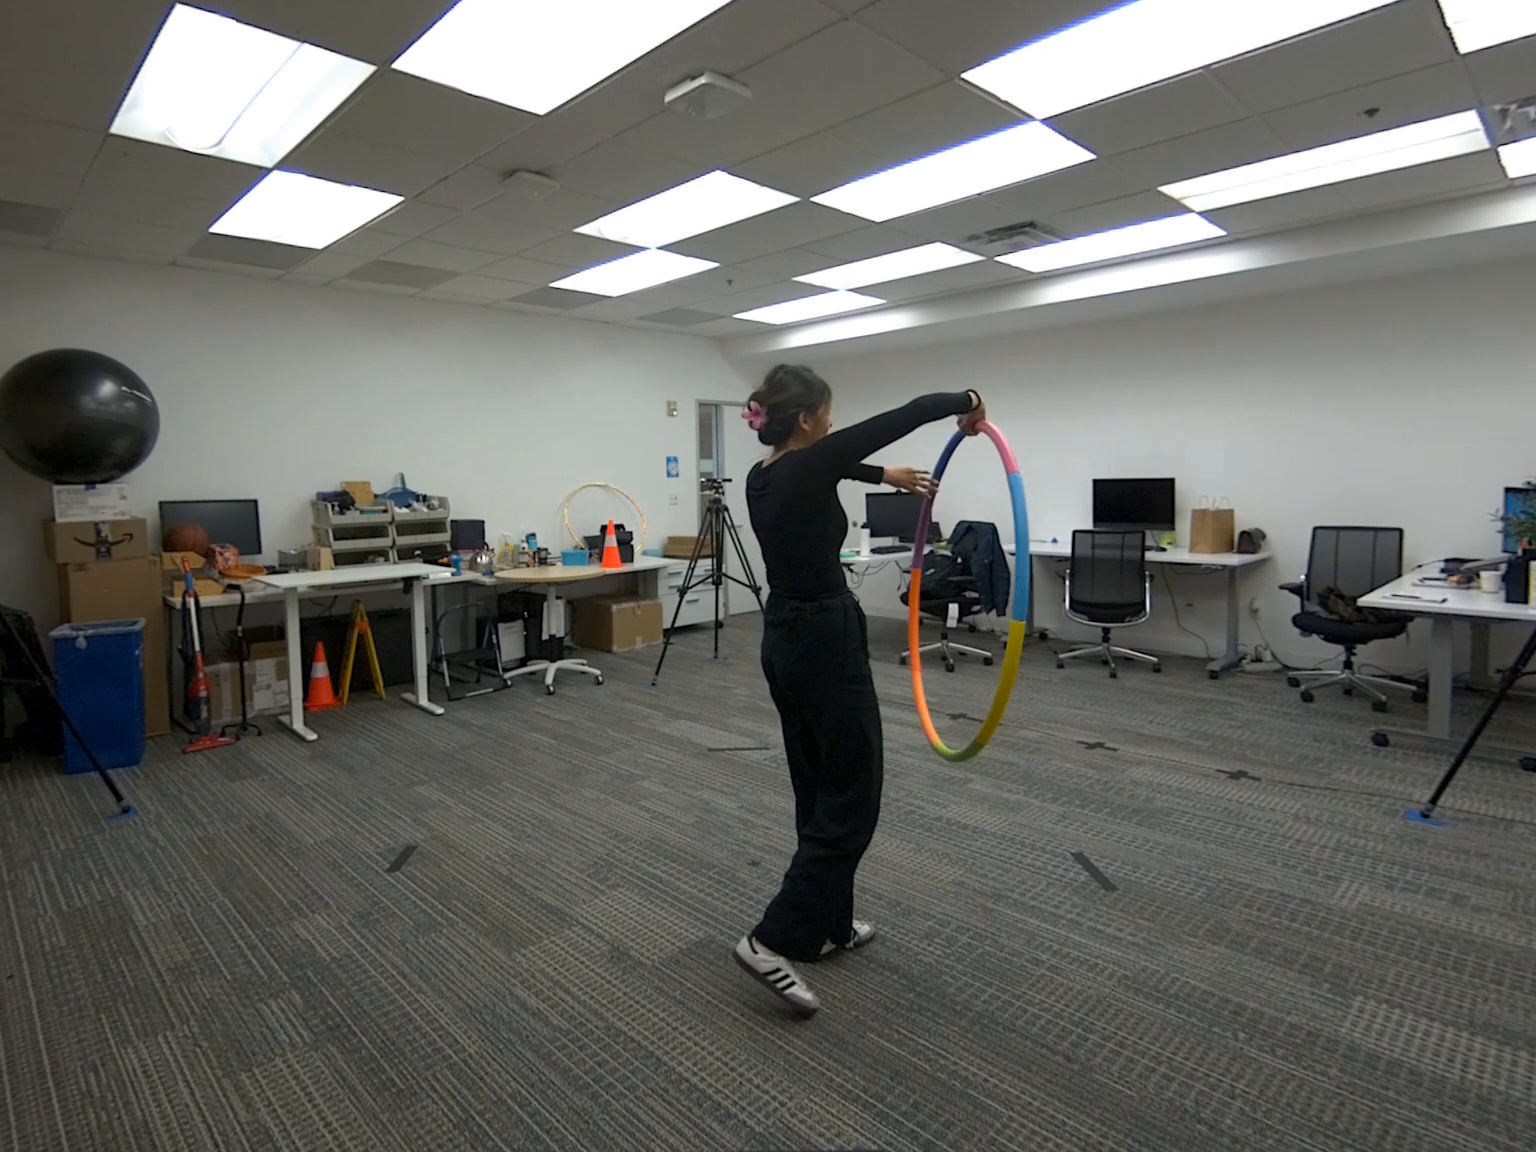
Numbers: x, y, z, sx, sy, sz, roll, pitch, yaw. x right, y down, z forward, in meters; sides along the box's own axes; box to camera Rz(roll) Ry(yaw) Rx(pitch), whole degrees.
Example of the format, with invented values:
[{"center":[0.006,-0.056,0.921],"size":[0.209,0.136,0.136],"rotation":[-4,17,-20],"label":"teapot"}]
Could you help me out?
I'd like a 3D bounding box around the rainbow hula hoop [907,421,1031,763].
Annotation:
[{"center":[0.567,0.033,2.518],"size":[0.051,0.982,0.992],"rotation":[4,5,-5],"label":"rainbow hula hoop"}]
